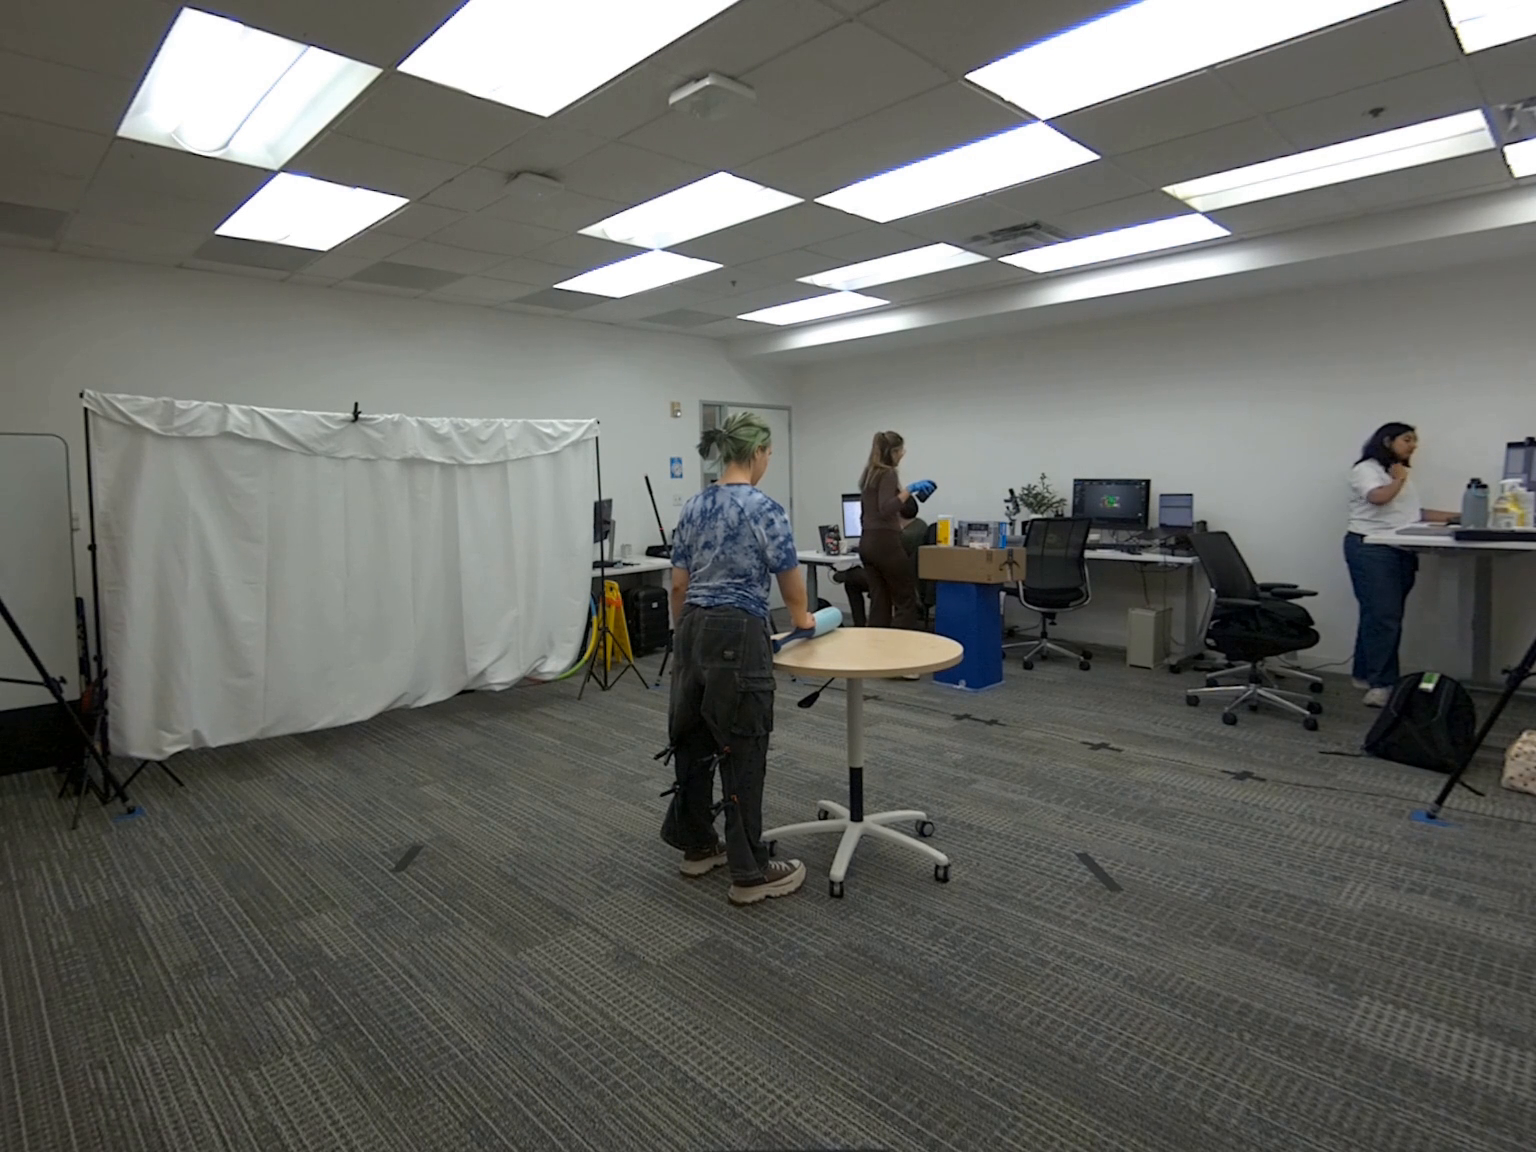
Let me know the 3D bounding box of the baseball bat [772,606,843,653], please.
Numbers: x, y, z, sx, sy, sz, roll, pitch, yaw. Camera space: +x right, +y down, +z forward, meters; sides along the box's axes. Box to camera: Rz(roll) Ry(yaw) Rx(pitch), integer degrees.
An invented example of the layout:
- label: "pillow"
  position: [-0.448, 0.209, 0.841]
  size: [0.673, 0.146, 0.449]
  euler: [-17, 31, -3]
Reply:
- label: "baseball bat"
  position: [0.145, 0.210, 3.245]
  size: [0.091, 0.088, 0.533]
  euler: [1, 10, 28]
